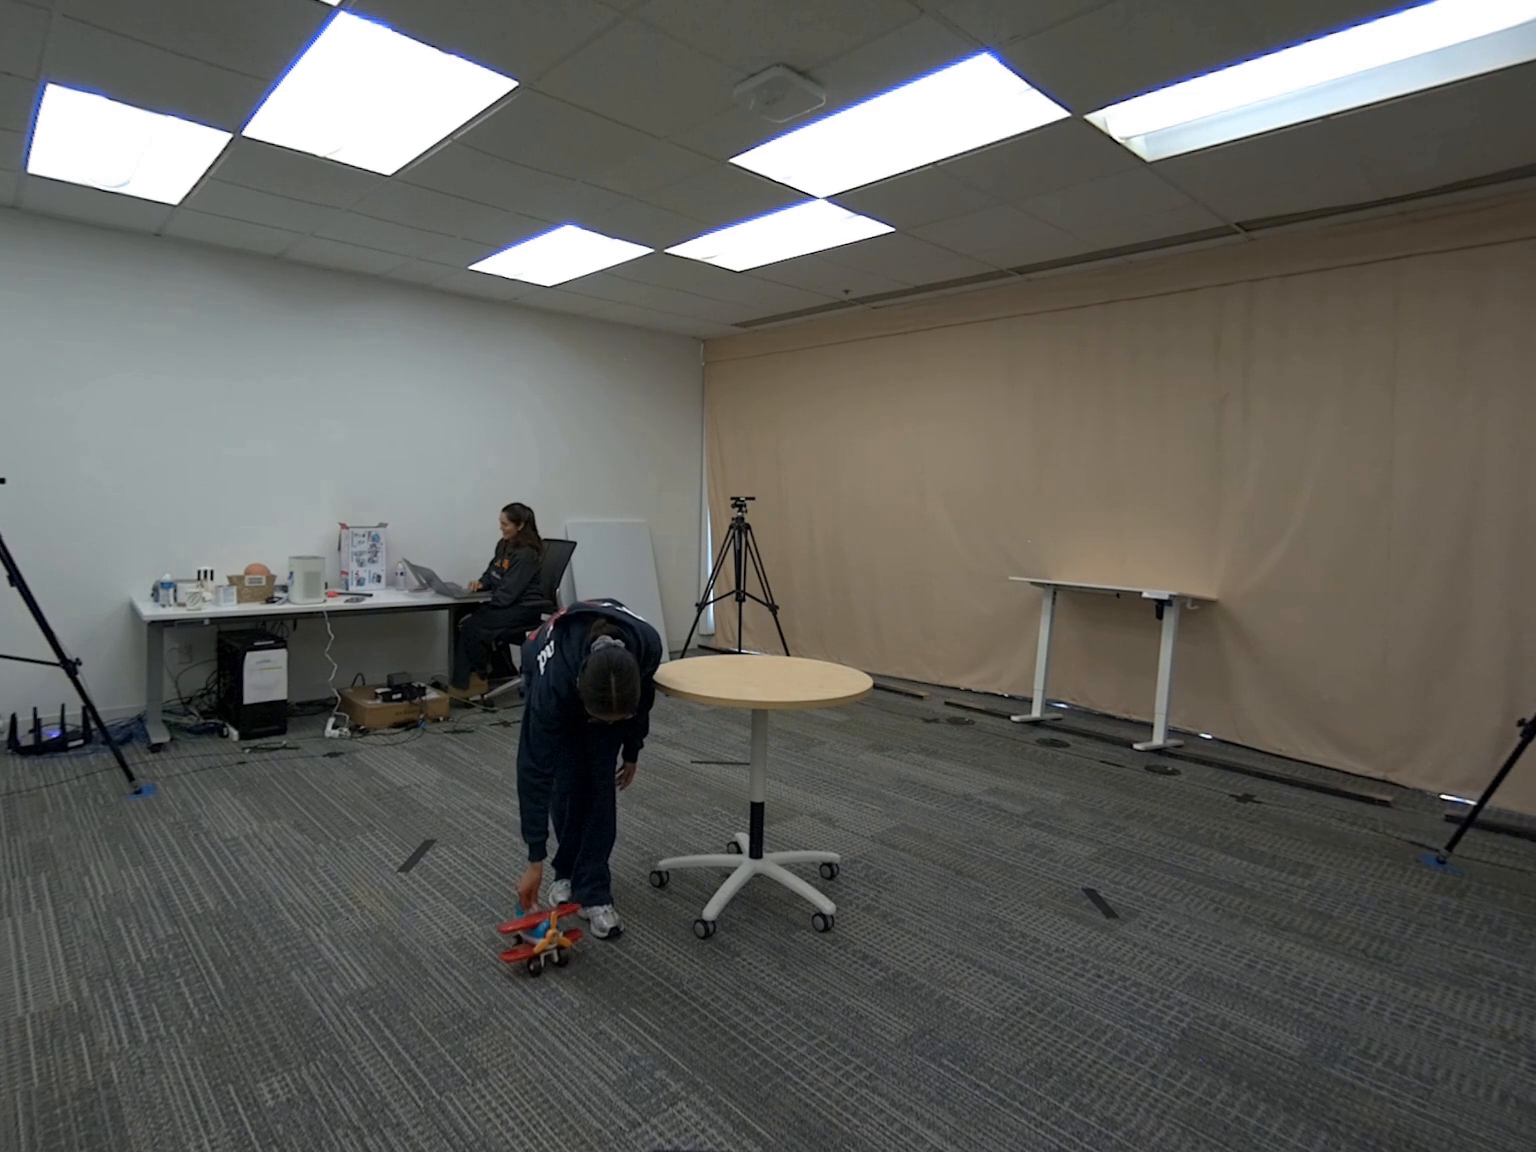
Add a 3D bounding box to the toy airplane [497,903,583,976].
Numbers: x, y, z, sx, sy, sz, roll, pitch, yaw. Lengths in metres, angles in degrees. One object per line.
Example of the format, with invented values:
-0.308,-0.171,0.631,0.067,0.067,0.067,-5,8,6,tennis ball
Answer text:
-0.715,1.079,2.509,0.264,0.156,0.247,4,6,24,toy airplane
